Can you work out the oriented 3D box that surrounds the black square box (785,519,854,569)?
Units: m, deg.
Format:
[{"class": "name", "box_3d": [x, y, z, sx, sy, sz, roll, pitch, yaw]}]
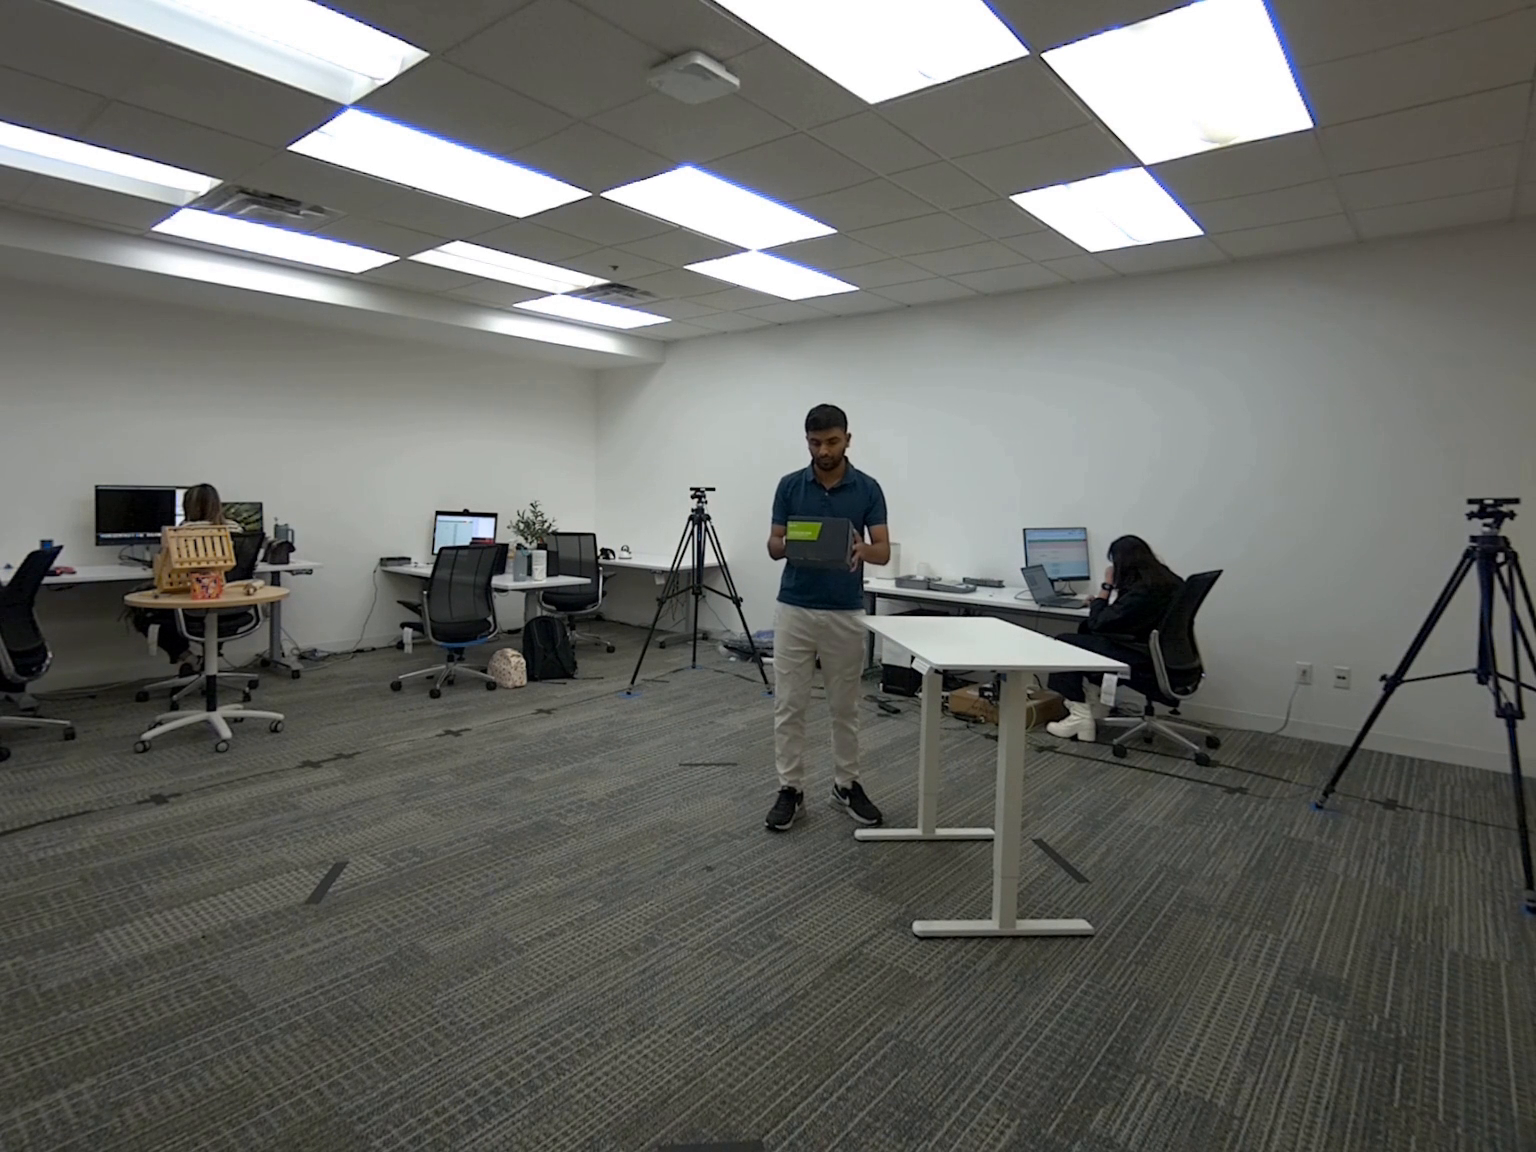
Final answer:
[{"class": "black square box", "box_3d": [0.196, -0.127, 3.161, 0.231, 0.157, 0.212, 3, -8, 13]}]
